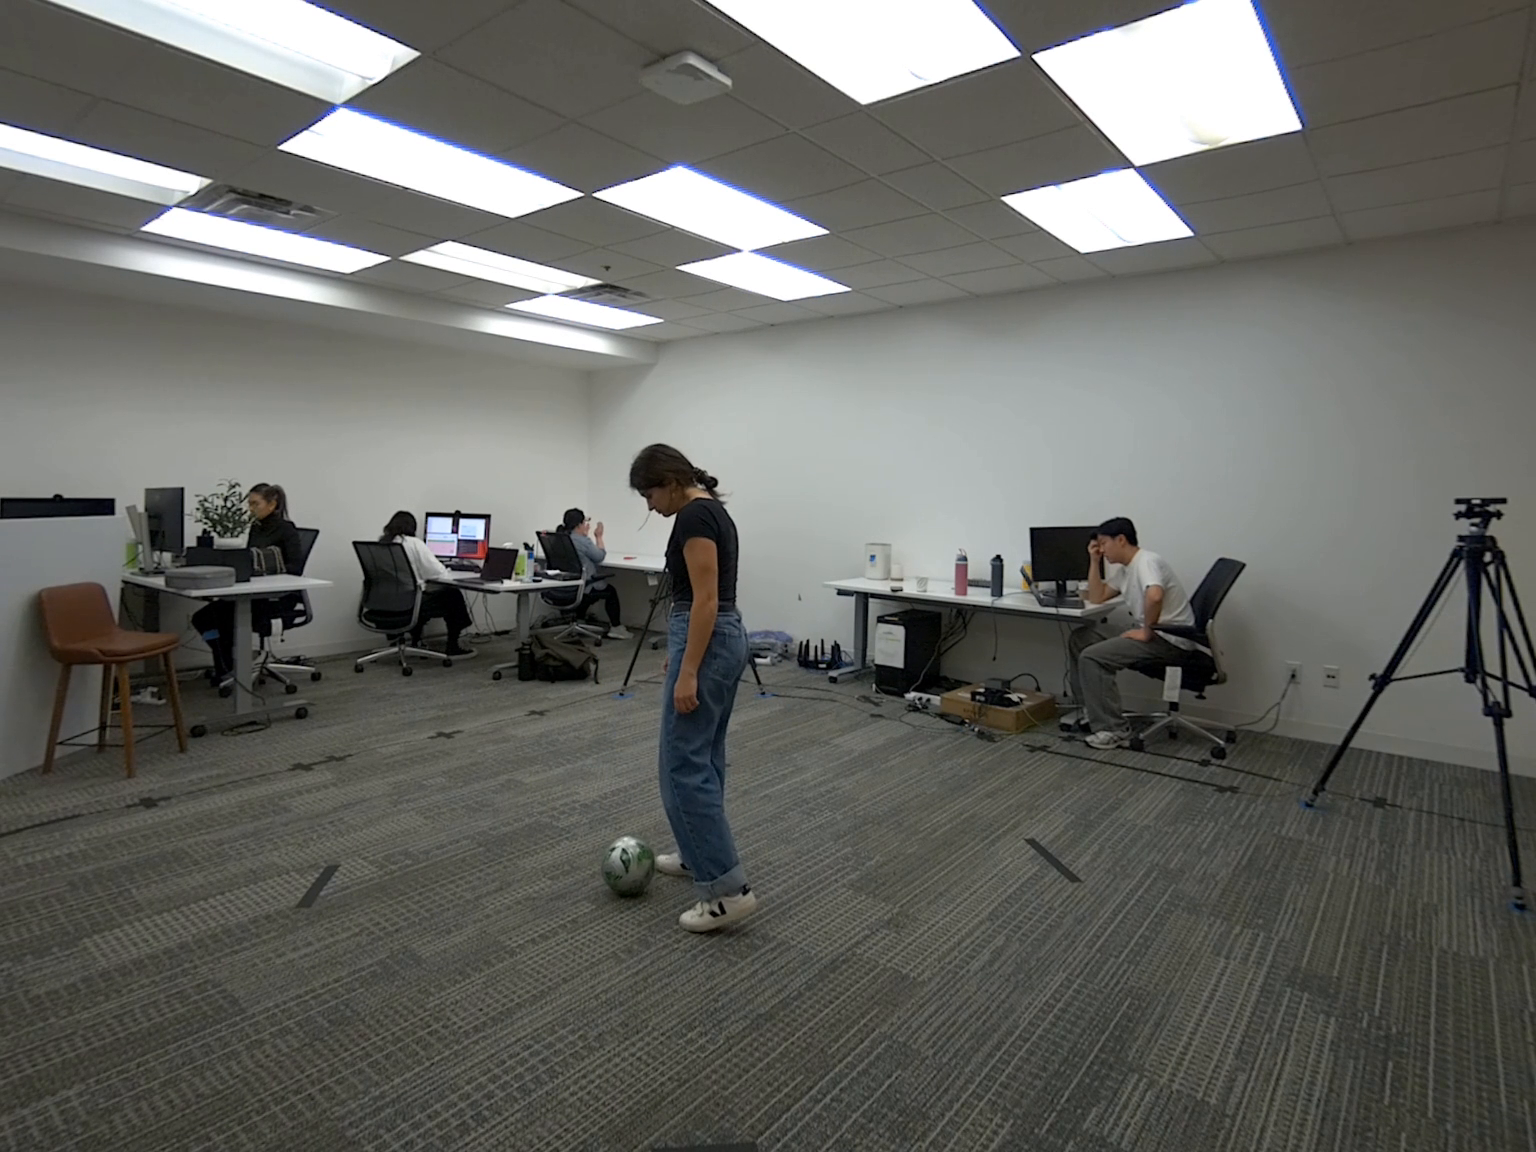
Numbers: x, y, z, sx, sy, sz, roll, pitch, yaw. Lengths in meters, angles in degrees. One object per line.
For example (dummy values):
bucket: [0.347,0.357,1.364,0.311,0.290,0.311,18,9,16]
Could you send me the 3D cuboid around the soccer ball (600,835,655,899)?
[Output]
soccer ball: [-0.479,0.984,2.926,0.187,0.187,0.188,1,4,-2]
